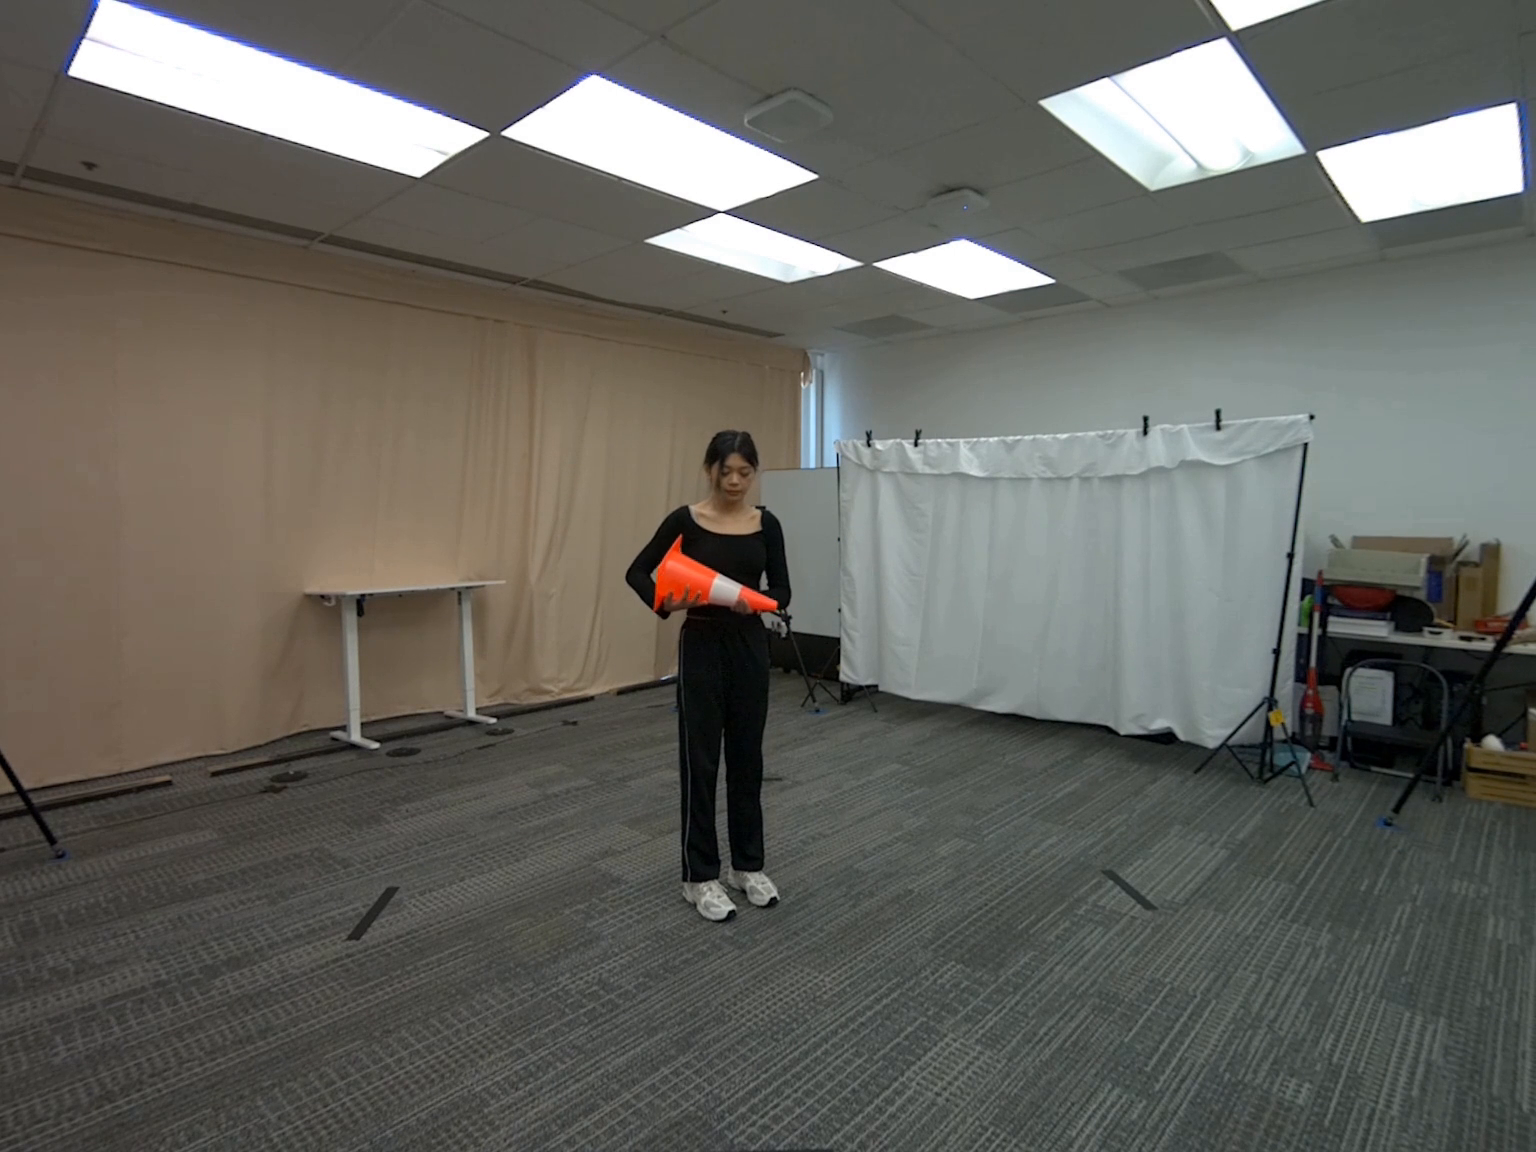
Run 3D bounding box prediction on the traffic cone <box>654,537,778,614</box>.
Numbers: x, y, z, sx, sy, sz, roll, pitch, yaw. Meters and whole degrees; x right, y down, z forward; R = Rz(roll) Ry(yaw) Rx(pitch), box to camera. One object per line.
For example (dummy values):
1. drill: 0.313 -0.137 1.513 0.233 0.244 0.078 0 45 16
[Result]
1. traffic cone: -0.142 0.037 2.753 0.388 0.200 0.206 14 41 9
